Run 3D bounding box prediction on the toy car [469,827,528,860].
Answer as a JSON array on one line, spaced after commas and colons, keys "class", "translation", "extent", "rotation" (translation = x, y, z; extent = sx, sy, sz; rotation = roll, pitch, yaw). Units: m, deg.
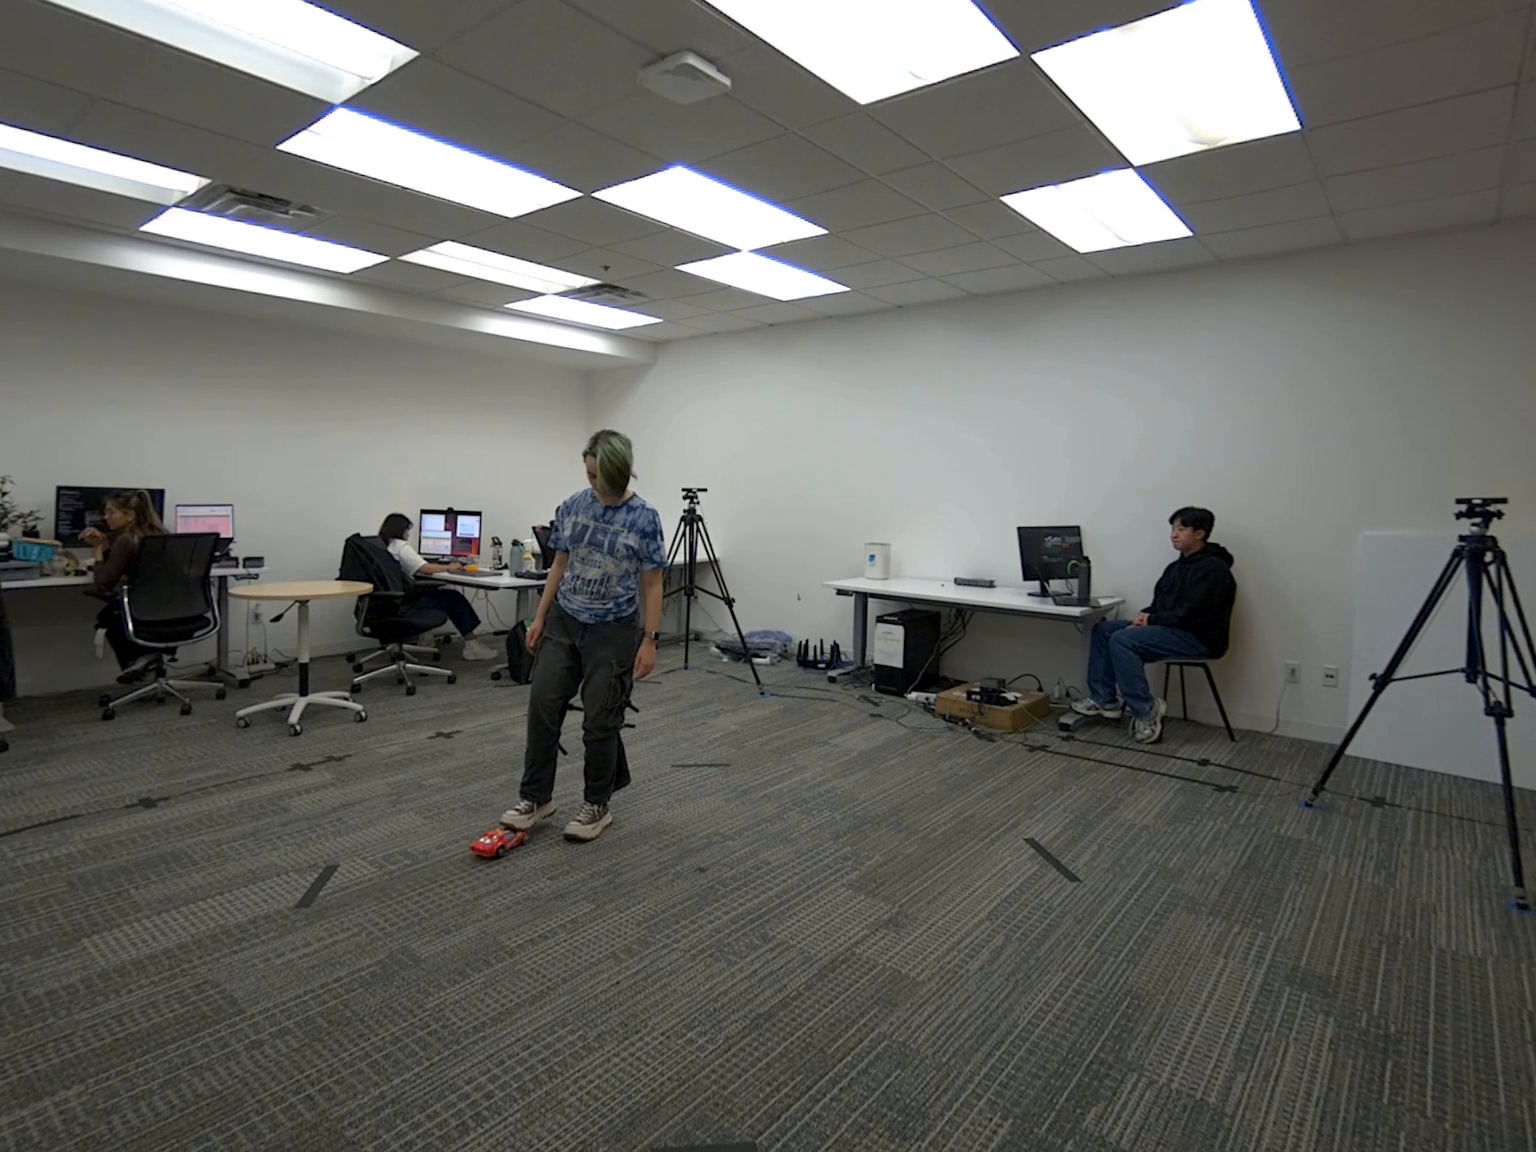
[{"class": "toy car", "translation": [-1.038, 1.012, 3.239], "extent": [0.134, 0.084, 0.246], "rotation": [3, -8, 26]}]
